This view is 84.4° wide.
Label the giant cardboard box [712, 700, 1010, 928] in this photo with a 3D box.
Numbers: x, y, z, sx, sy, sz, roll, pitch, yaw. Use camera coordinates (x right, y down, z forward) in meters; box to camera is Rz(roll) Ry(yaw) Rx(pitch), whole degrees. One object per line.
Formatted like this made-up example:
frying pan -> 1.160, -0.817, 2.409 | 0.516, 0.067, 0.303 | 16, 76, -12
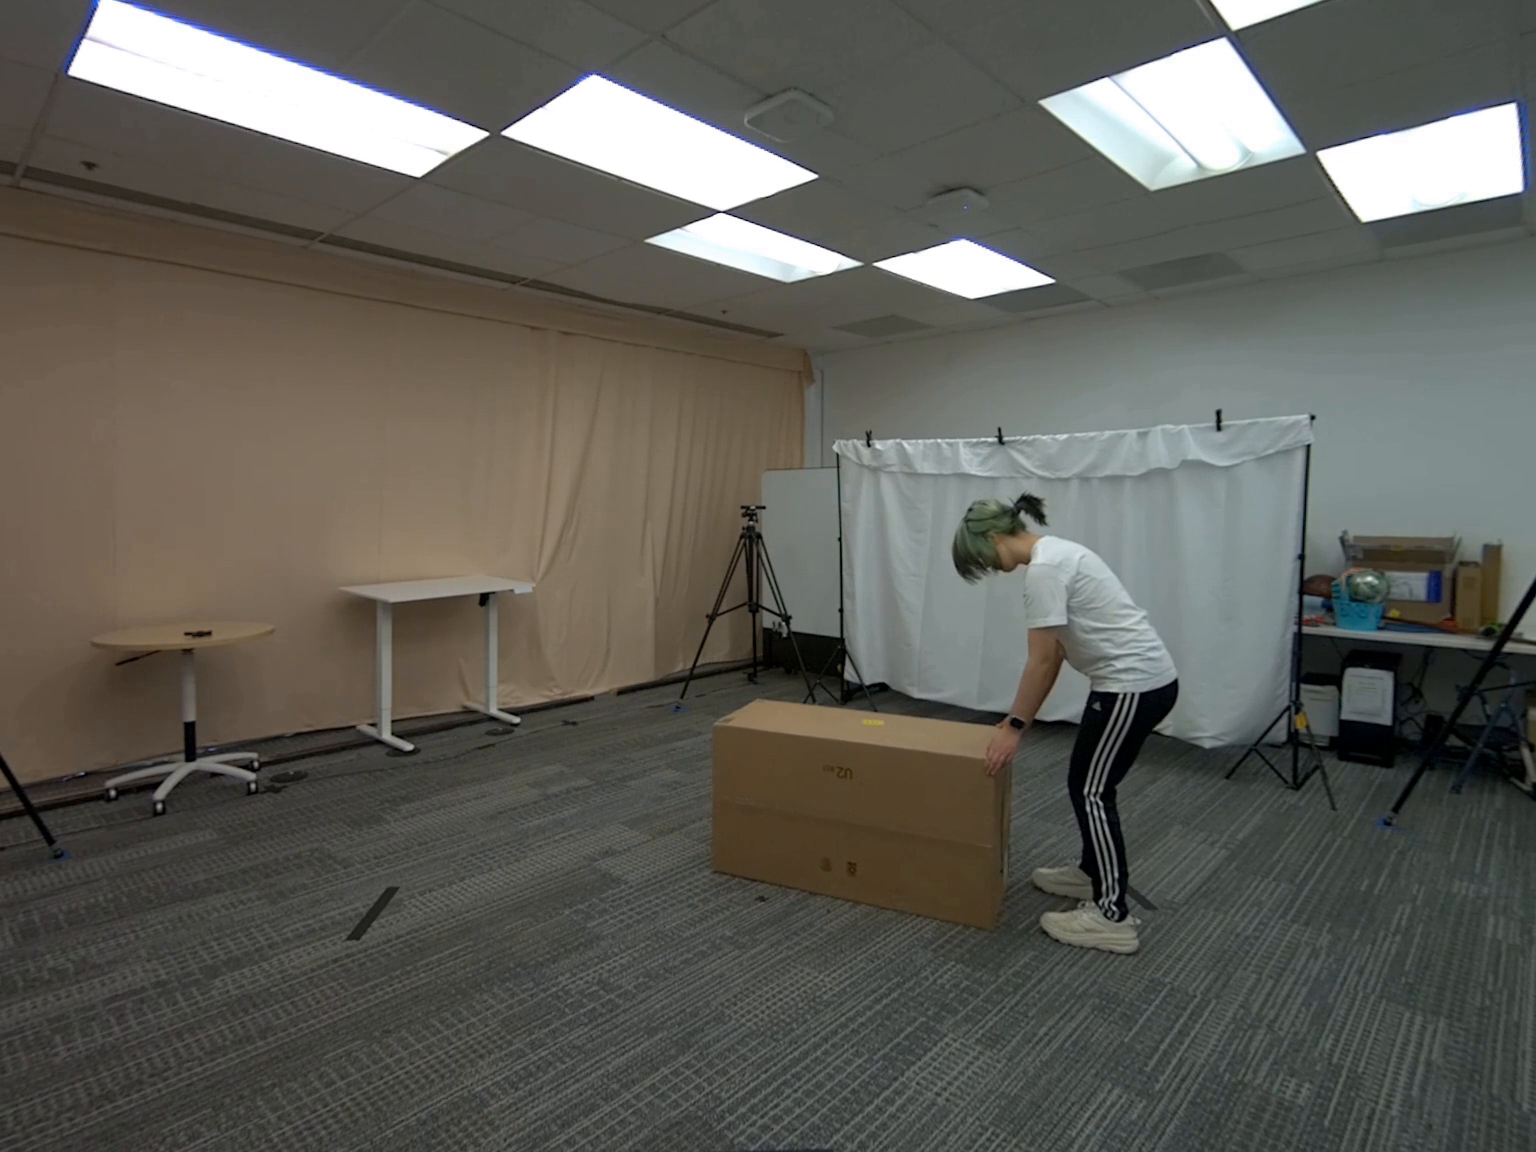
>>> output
giant cardboard box -> 0.348, 0.842, 3.142 | 1.053, 0.583, 0.436 | 2, 4, 25
